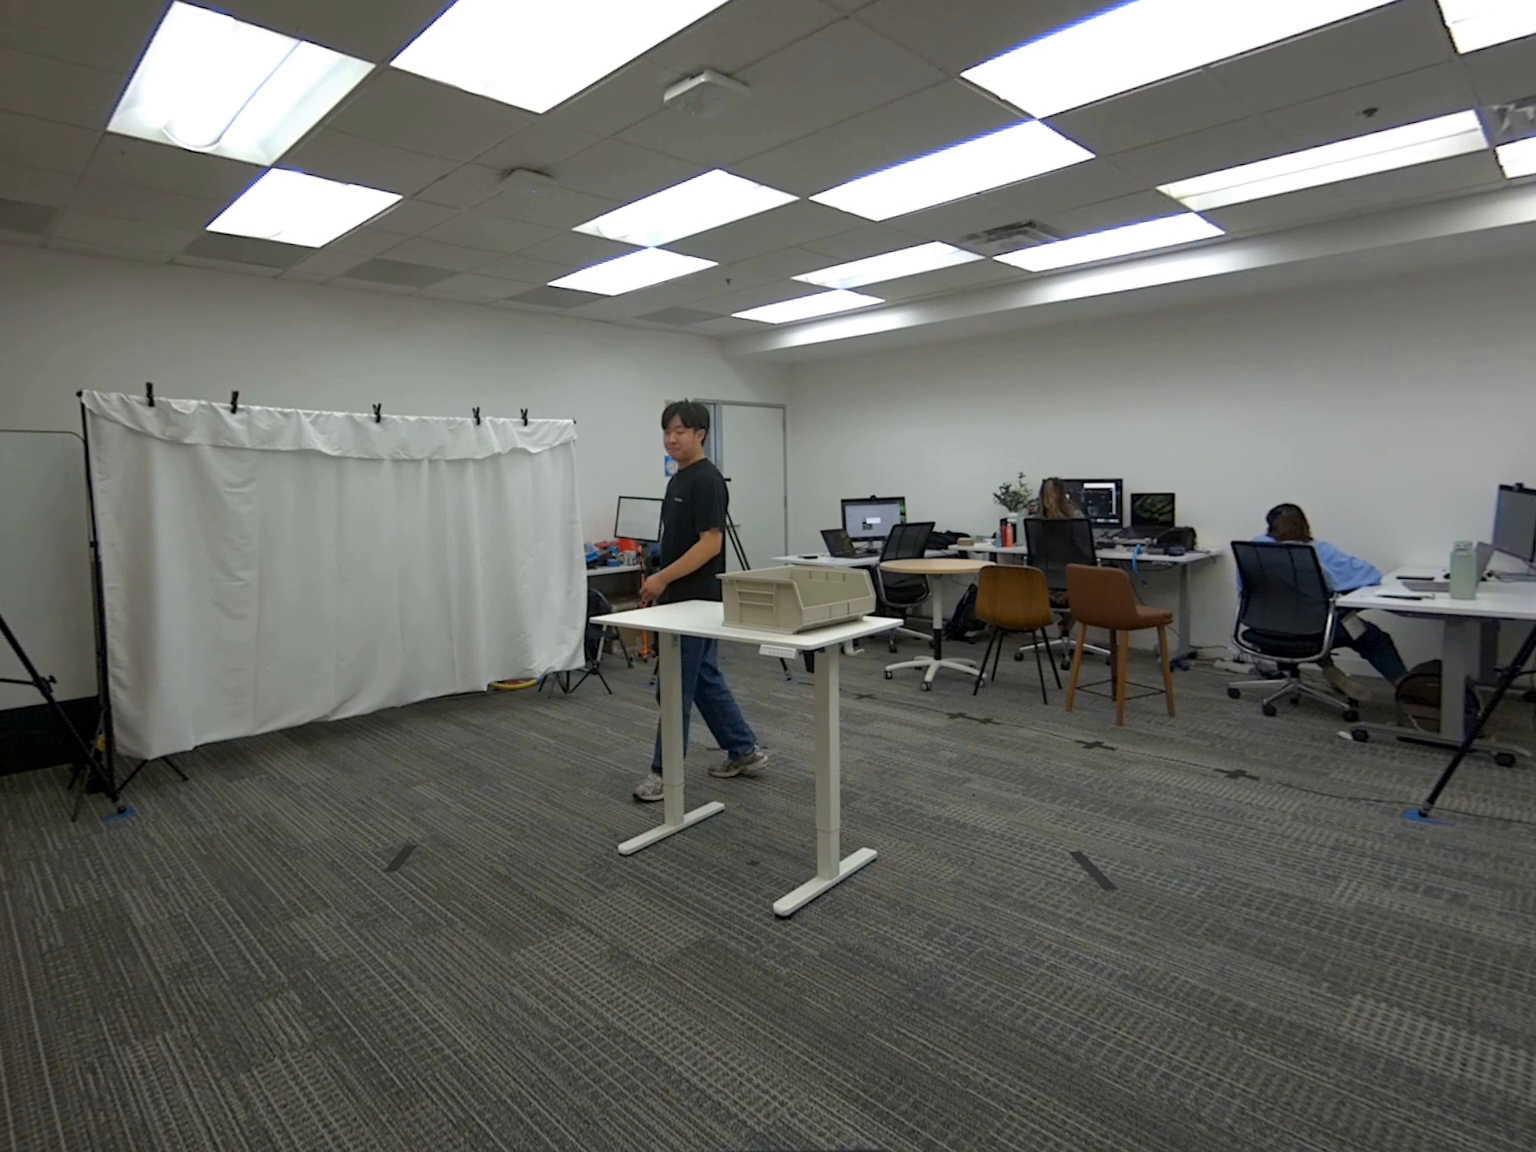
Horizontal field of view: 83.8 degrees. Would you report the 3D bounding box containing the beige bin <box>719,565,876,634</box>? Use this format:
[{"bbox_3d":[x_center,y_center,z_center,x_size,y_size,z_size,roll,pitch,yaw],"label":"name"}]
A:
[{"bbox_3d":[0.108,0.080,2.990,0.388,0.188,0.411,2,6,42],"label":"beige bin"}]
